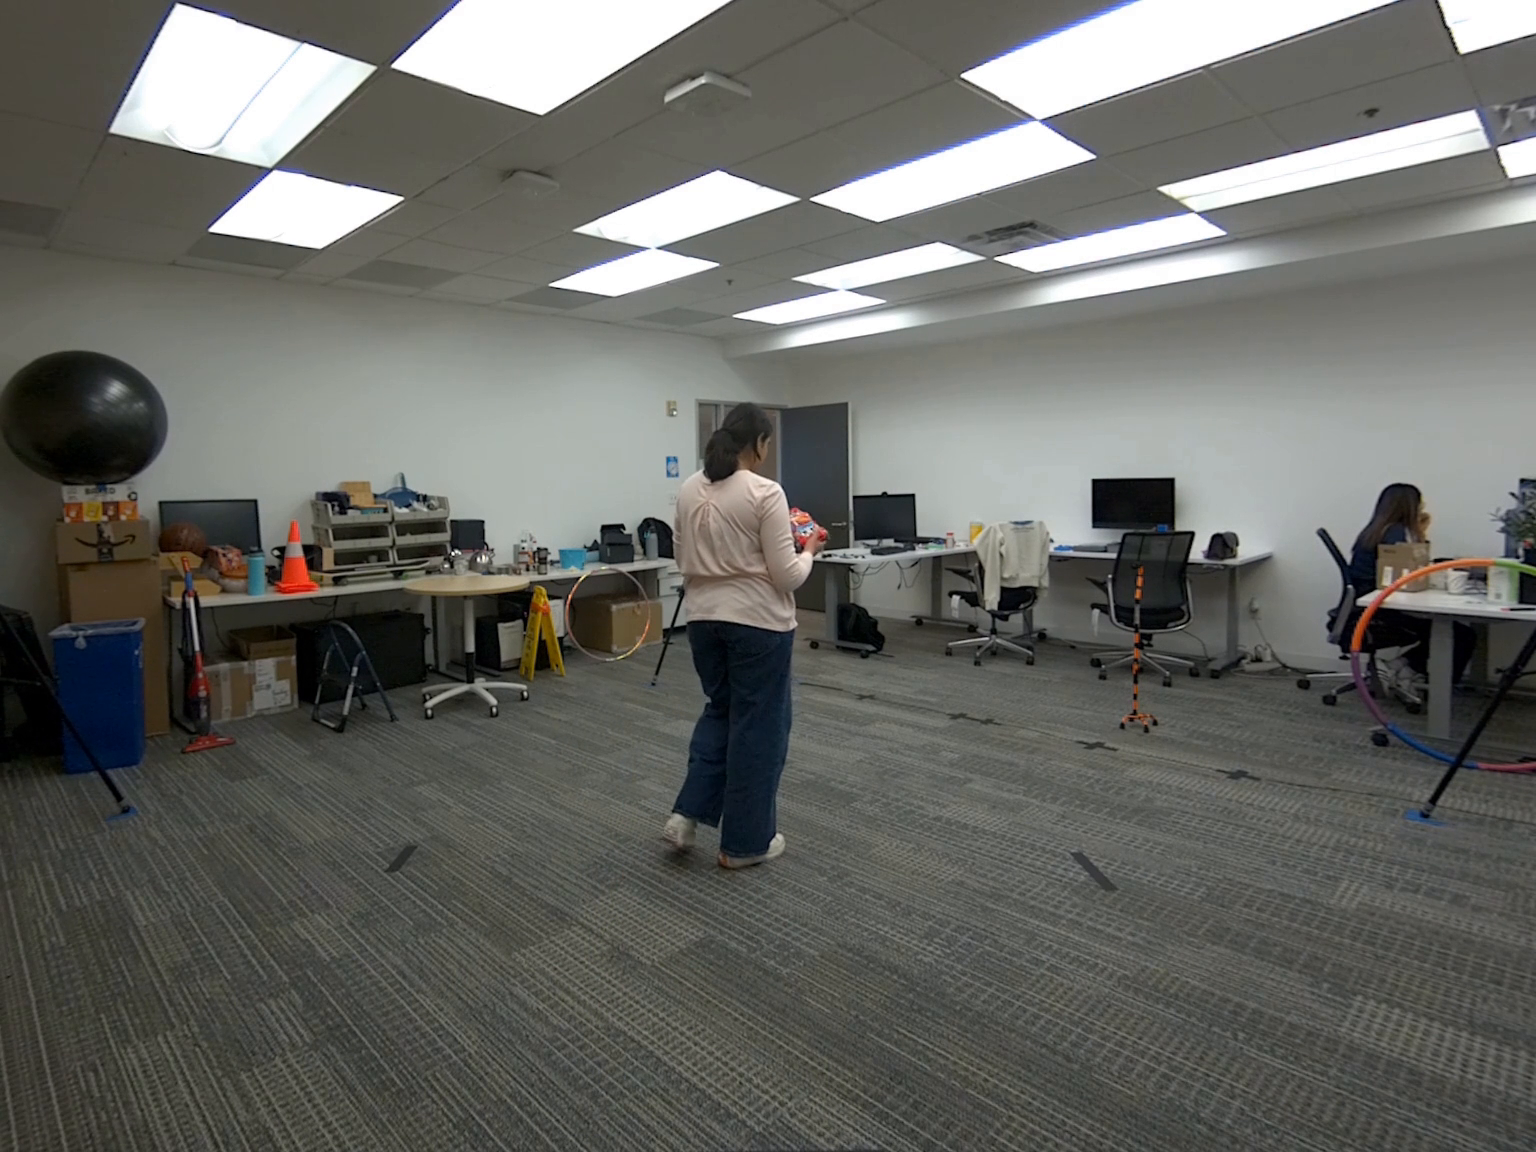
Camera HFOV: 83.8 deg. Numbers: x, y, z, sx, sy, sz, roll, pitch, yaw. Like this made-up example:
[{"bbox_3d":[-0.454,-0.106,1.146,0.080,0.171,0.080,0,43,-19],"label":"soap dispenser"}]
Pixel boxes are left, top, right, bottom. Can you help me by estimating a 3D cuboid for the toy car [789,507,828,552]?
[{"bbox_3d":[0.125,-0.188,3.285,0.129,0.080,0.264,-23,42,-11],"label":"toy car"}]
